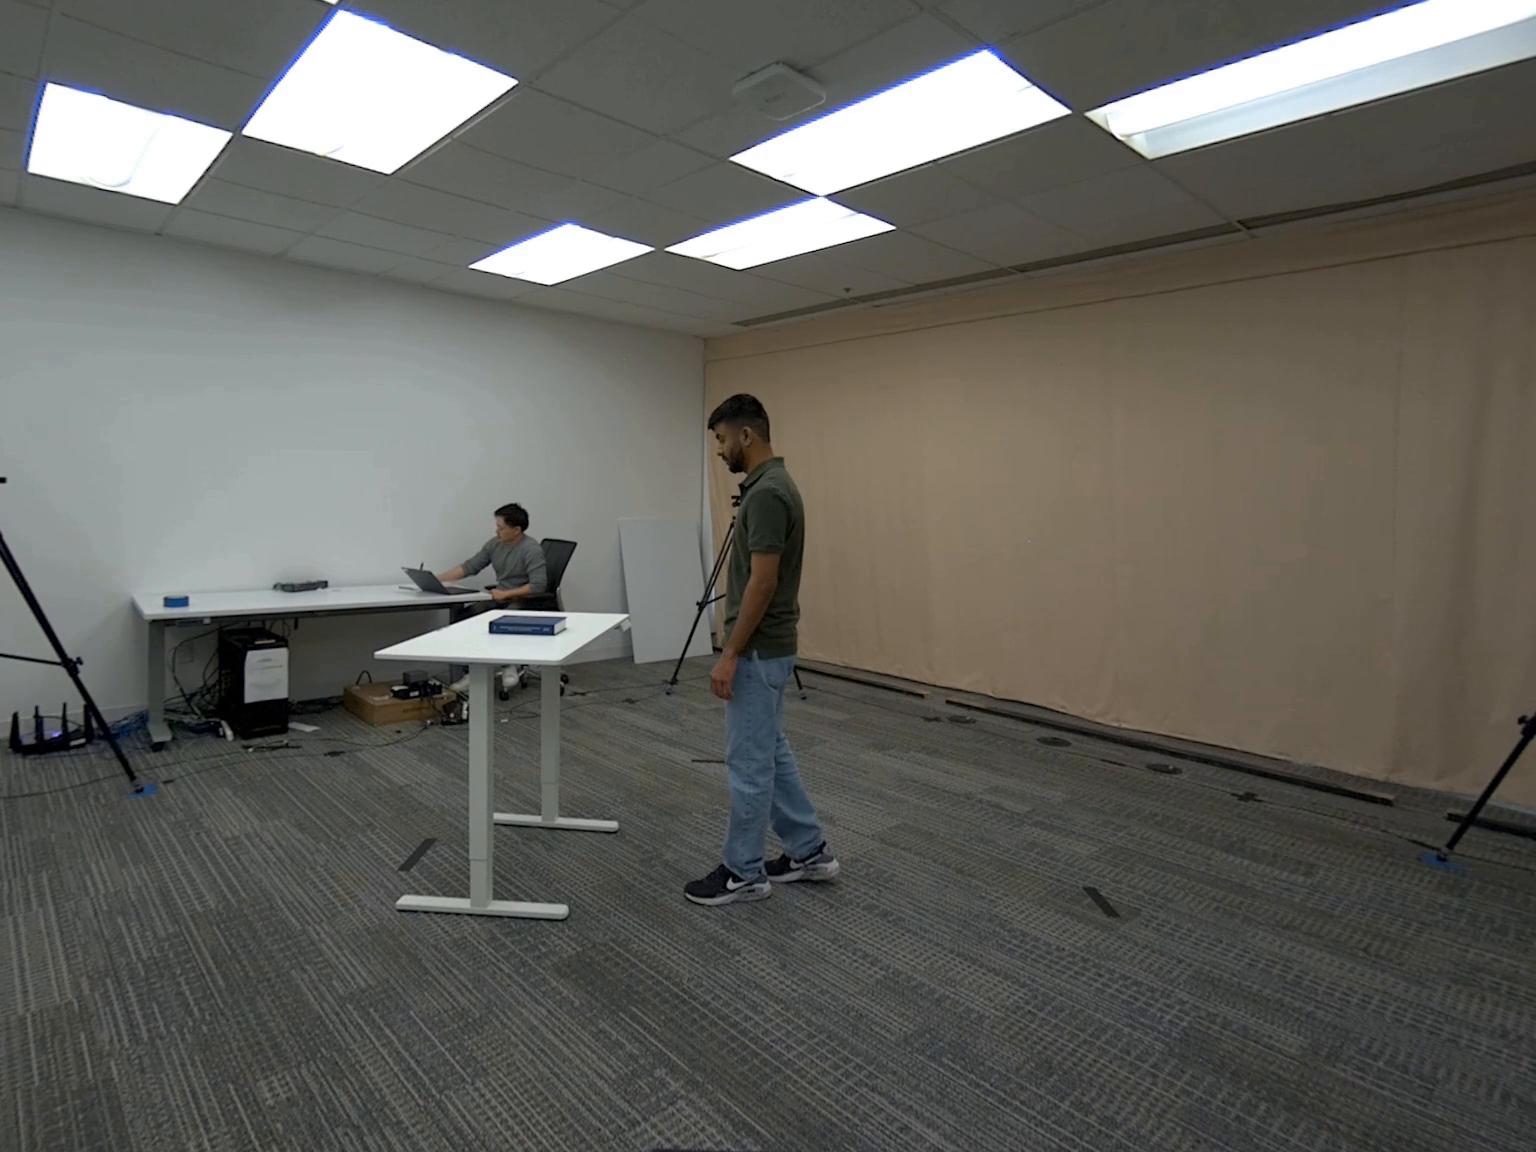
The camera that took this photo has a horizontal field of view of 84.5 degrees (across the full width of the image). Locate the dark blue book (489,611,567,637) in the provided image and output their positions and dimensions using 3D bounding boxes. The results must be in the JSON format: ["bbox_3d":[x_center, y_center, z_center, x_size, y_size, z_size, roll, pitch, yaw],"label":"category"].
[{"bbox_3d":[-0.884,0.181,3.091,0.246,0.045,0.163,1,6,3],"label":"dark blue book"}]
